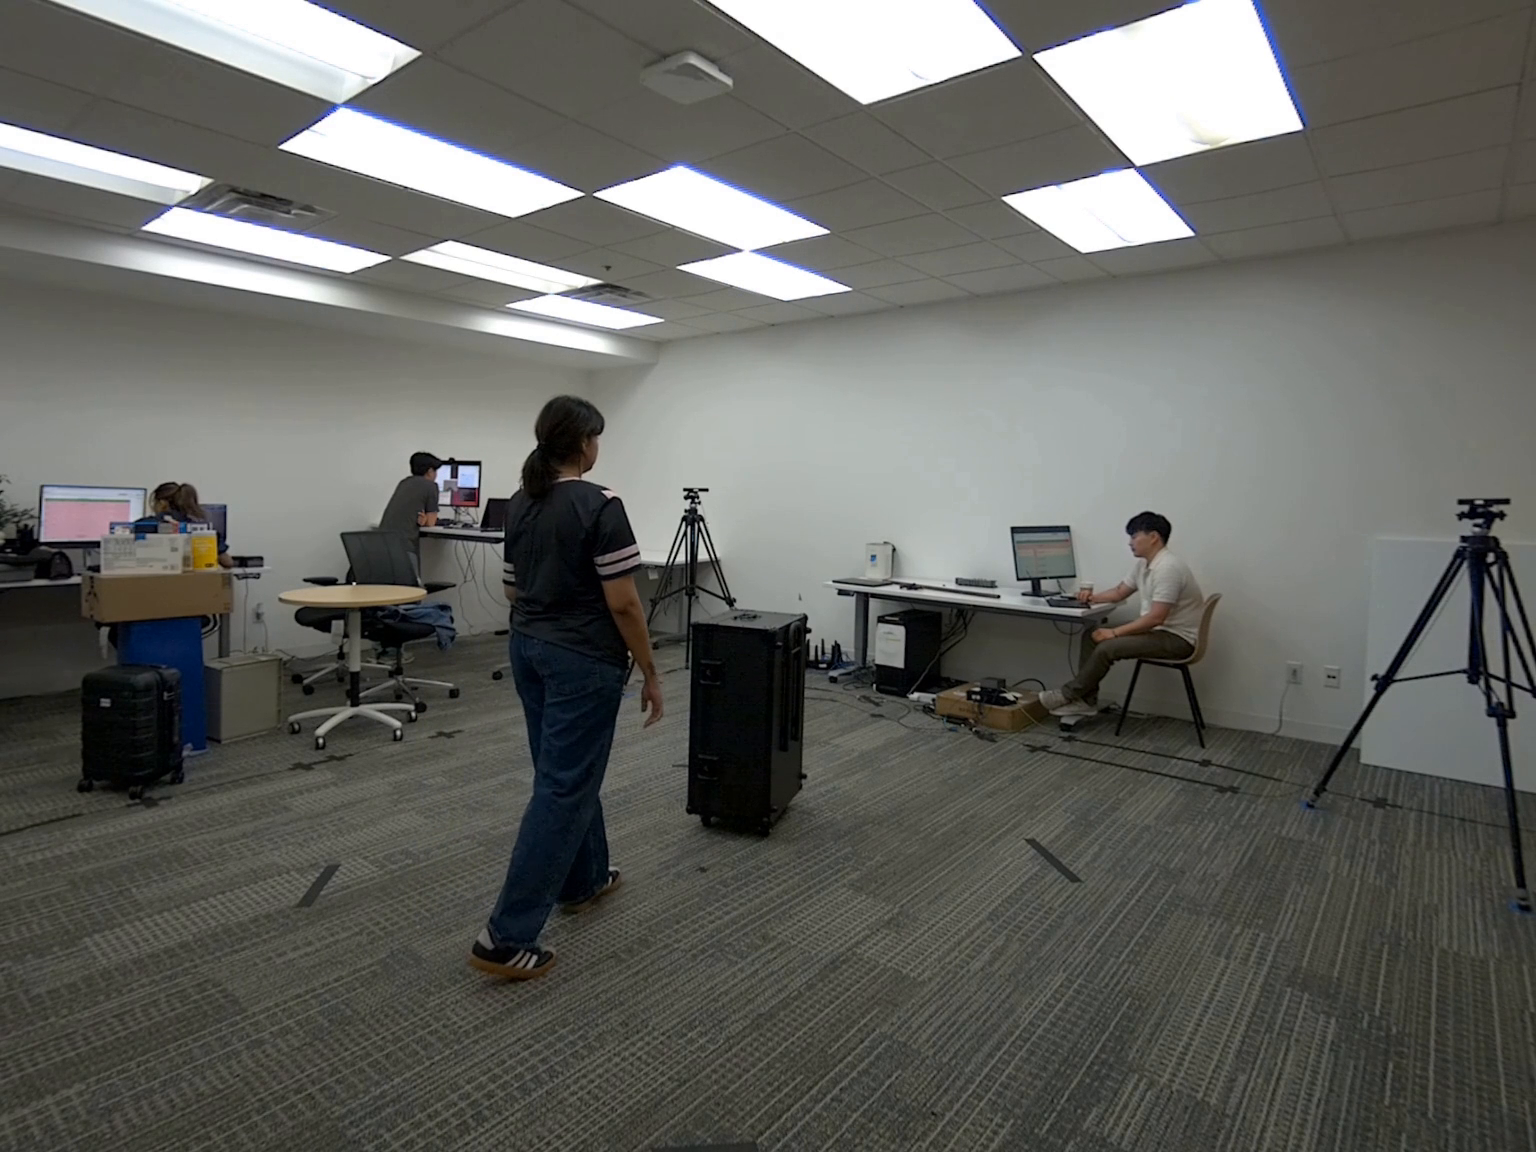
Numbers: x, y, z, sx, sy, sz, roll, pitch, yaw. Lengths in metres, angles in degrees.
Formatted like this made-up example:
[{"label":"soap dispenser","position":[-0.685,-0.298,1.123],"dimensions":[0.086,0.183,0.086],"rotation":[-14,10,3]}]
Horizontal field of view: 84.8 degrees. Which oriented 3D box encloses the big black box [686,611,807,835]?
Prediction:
[{"label":"big black box","position":[-0.085,0.600,3.606],"dimensions":[0.393,0.866,0.514],"rotation":[3,4,18]}]
